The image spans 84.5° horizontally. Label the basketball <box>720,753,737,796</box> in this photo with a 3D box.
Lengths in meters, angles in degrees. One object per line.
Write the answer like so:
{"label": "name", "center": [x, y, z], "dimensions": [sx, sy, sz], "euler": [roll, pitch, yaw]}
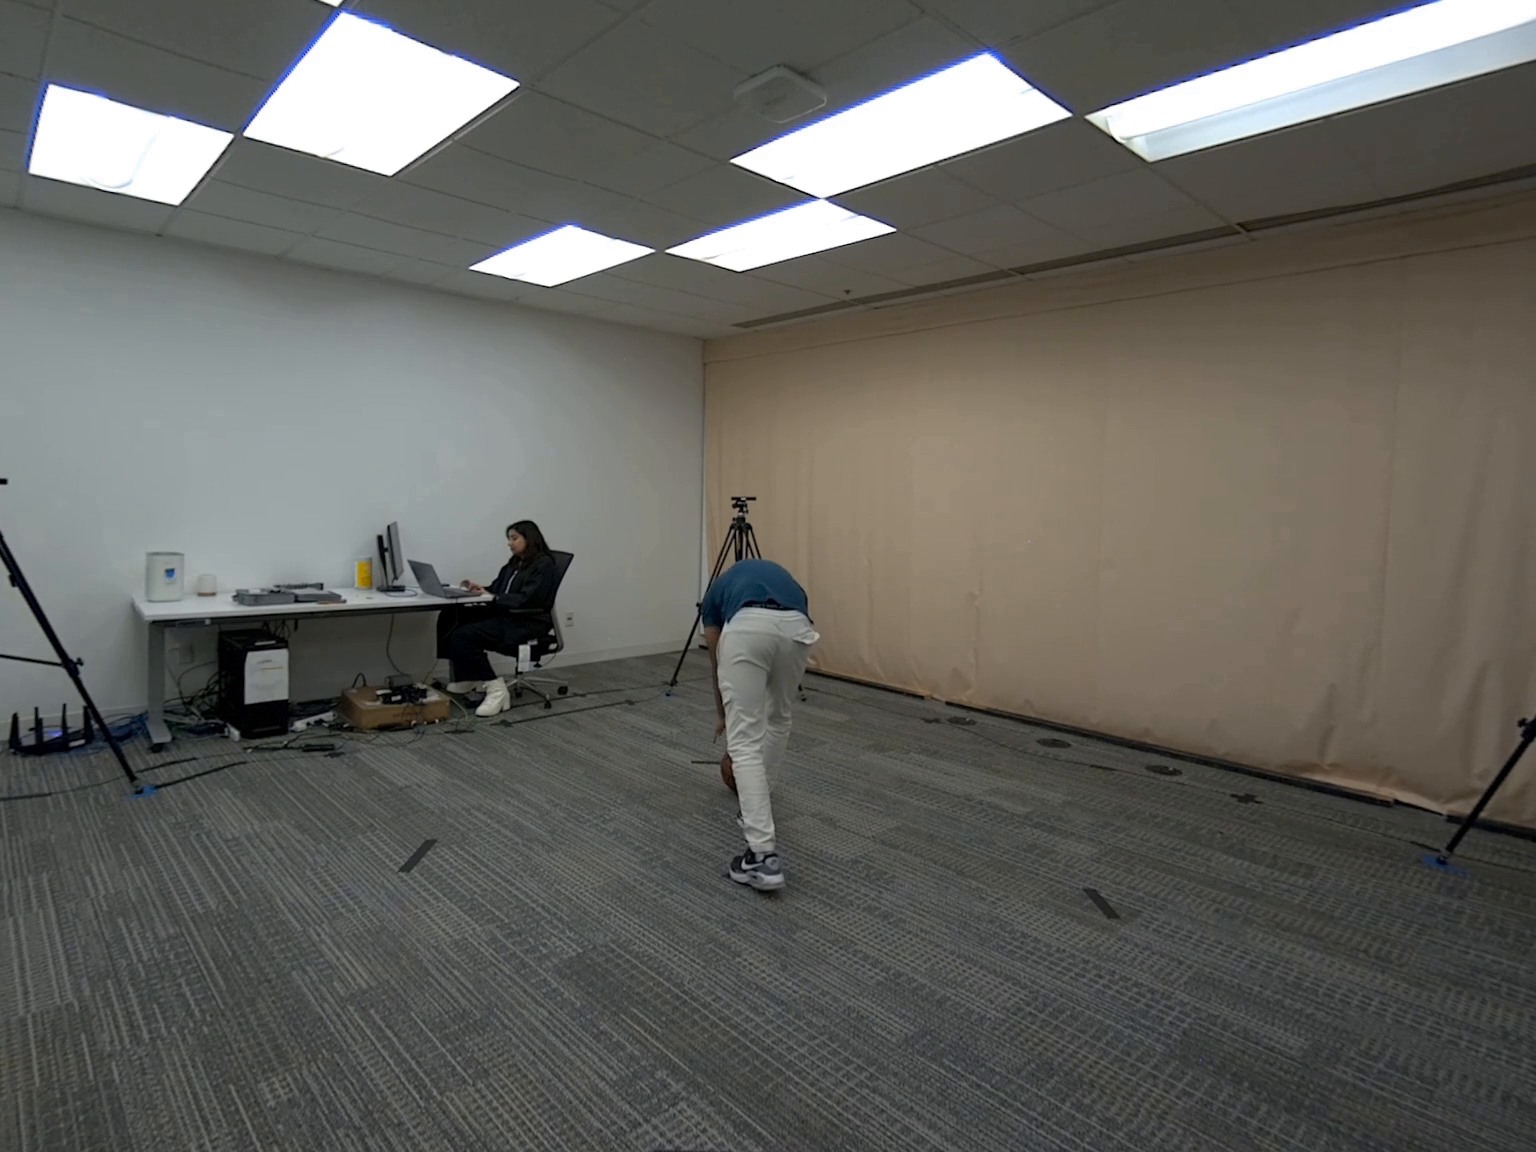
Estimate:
{"label": "basketball", "center": [-0.115, 0.909, 3.992], "dimensions": [0.236, 0.235, 0.237], "euler": [1, 4, -1]}
